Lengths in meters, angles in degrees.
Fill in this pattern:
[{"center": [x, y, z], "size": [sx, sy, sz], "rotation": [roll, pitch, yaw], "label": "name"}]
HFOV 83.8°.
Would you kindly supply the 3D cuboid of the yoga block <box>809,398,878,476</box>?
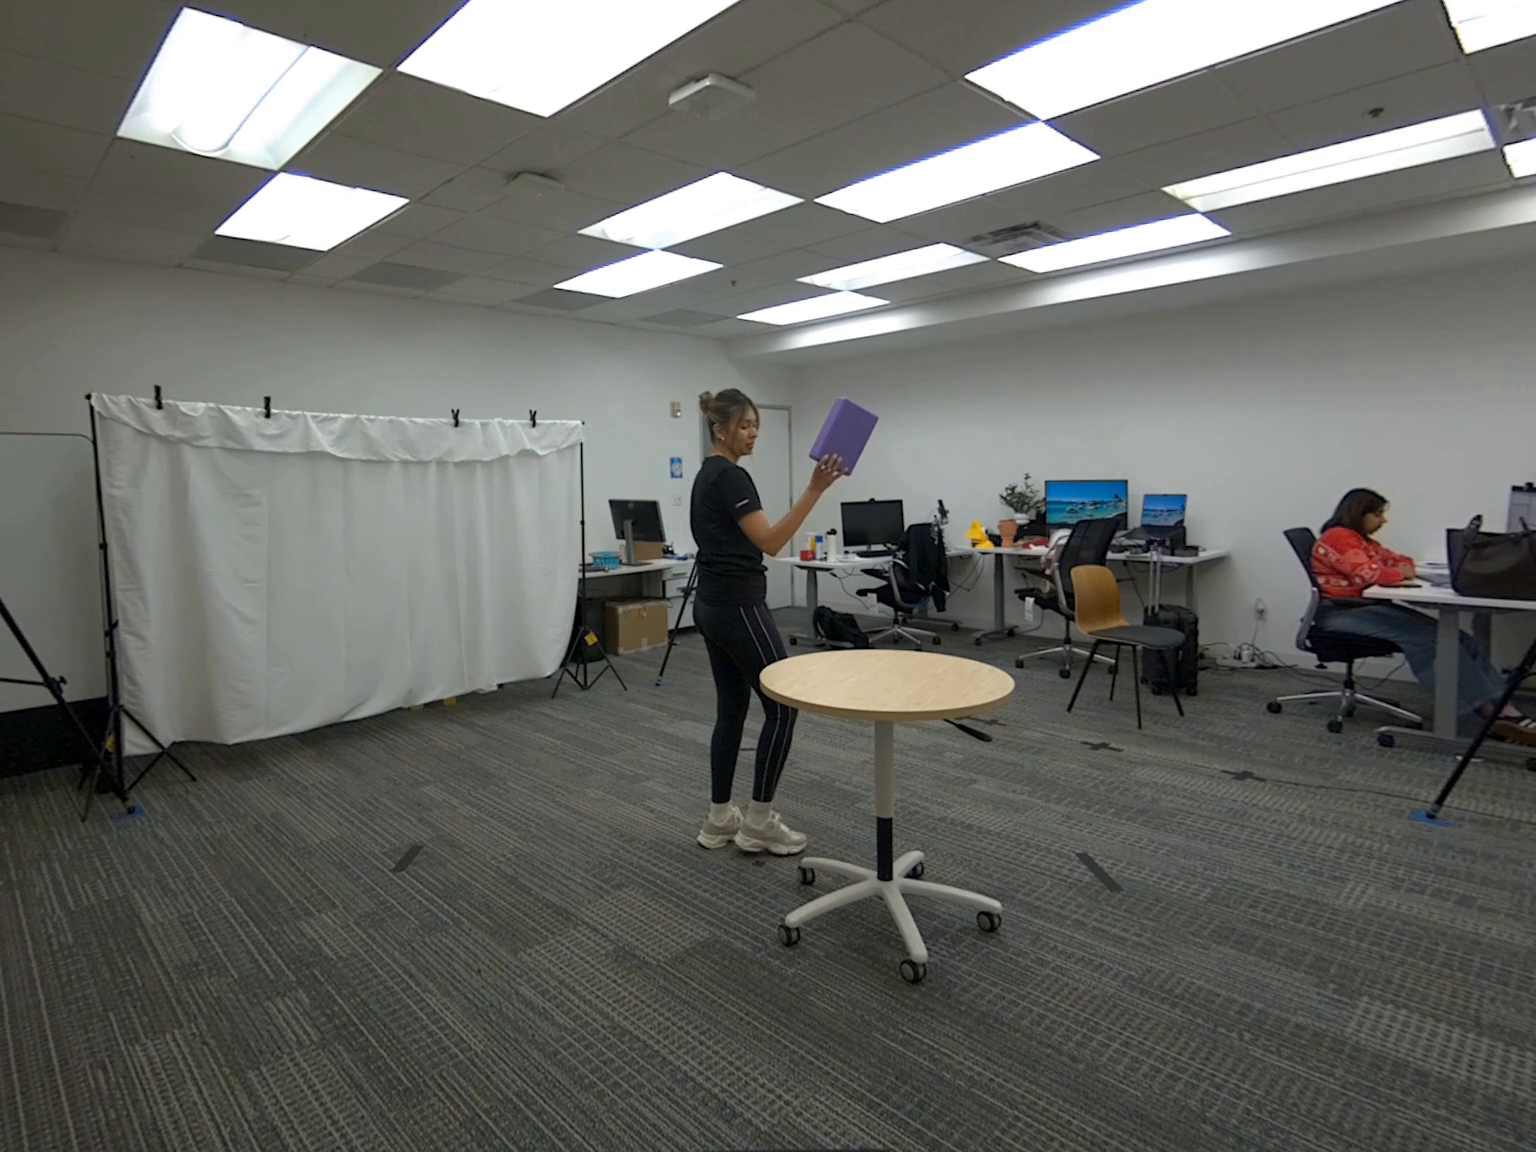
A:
[{"center": [0.259, -0.476, 2.889], "size": [0.145, 0.229, 0.078], "rotation": [25, 1, -21], "label": "yoga block"}]
